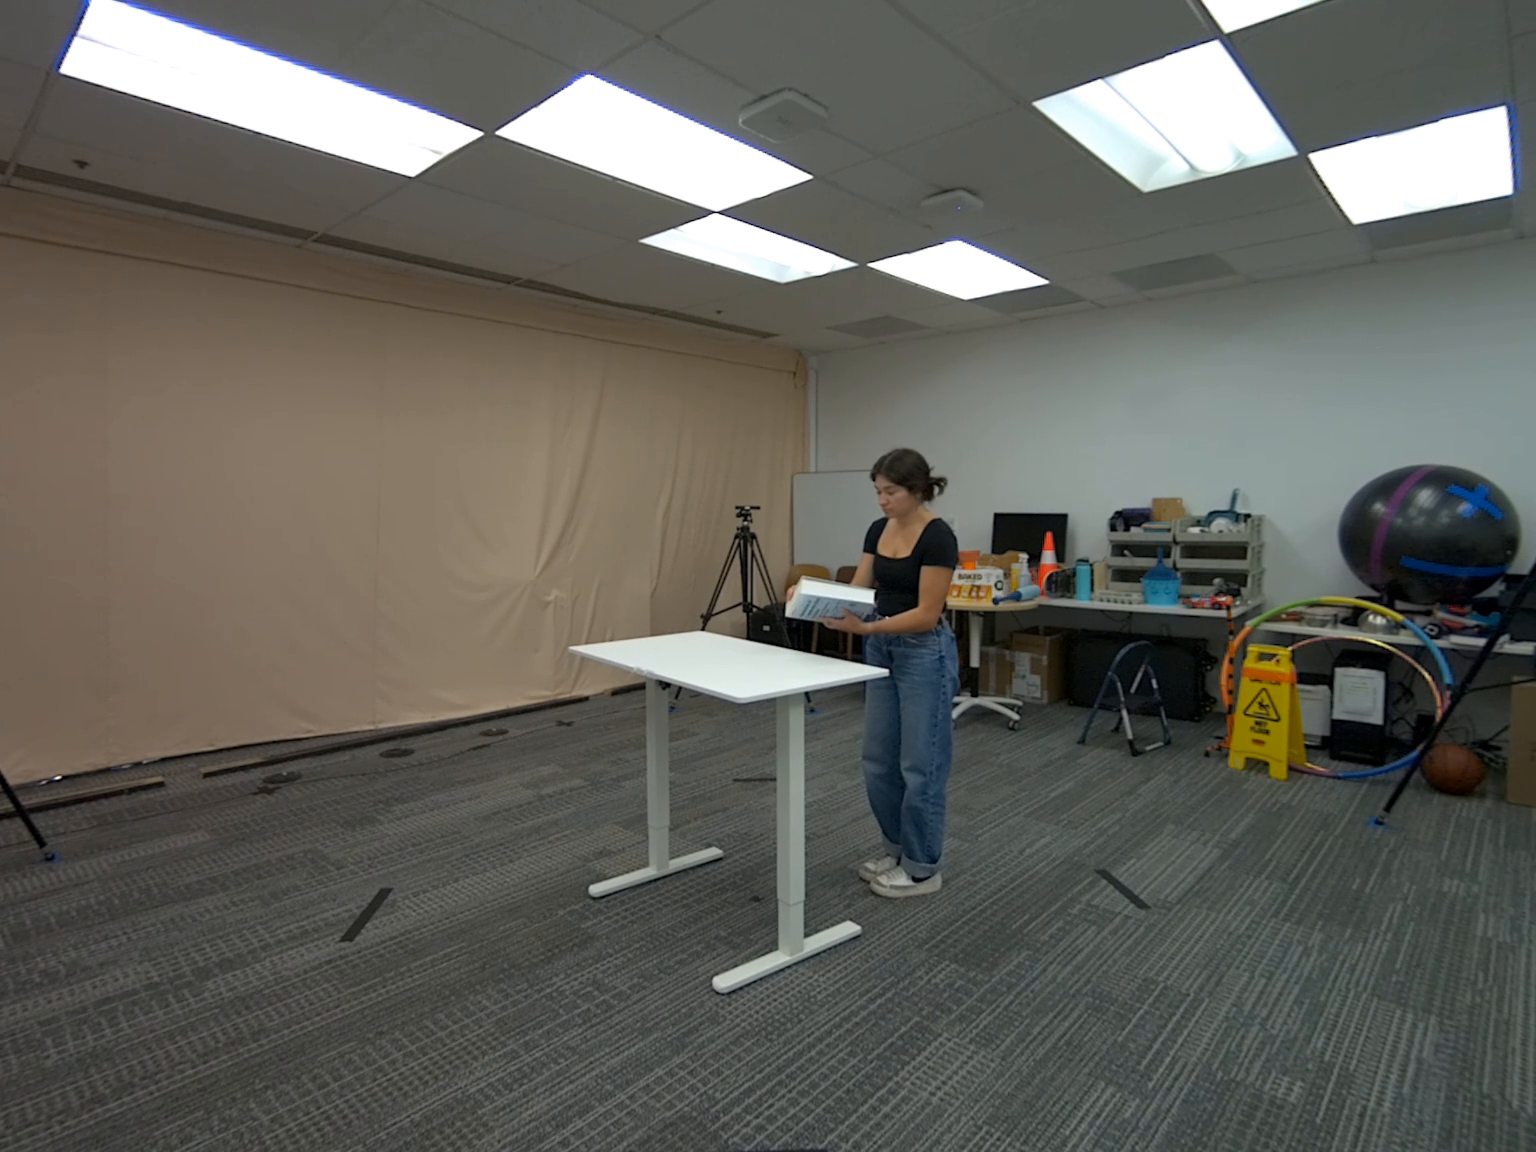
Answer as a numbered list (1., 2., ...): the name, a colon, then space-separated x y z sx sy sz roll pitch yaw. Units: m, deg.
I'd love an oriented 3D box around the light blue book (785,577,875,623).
1. light blue book: 0.209 0.100 2.886 0.259 0.060 0.190 11 -30 -6
